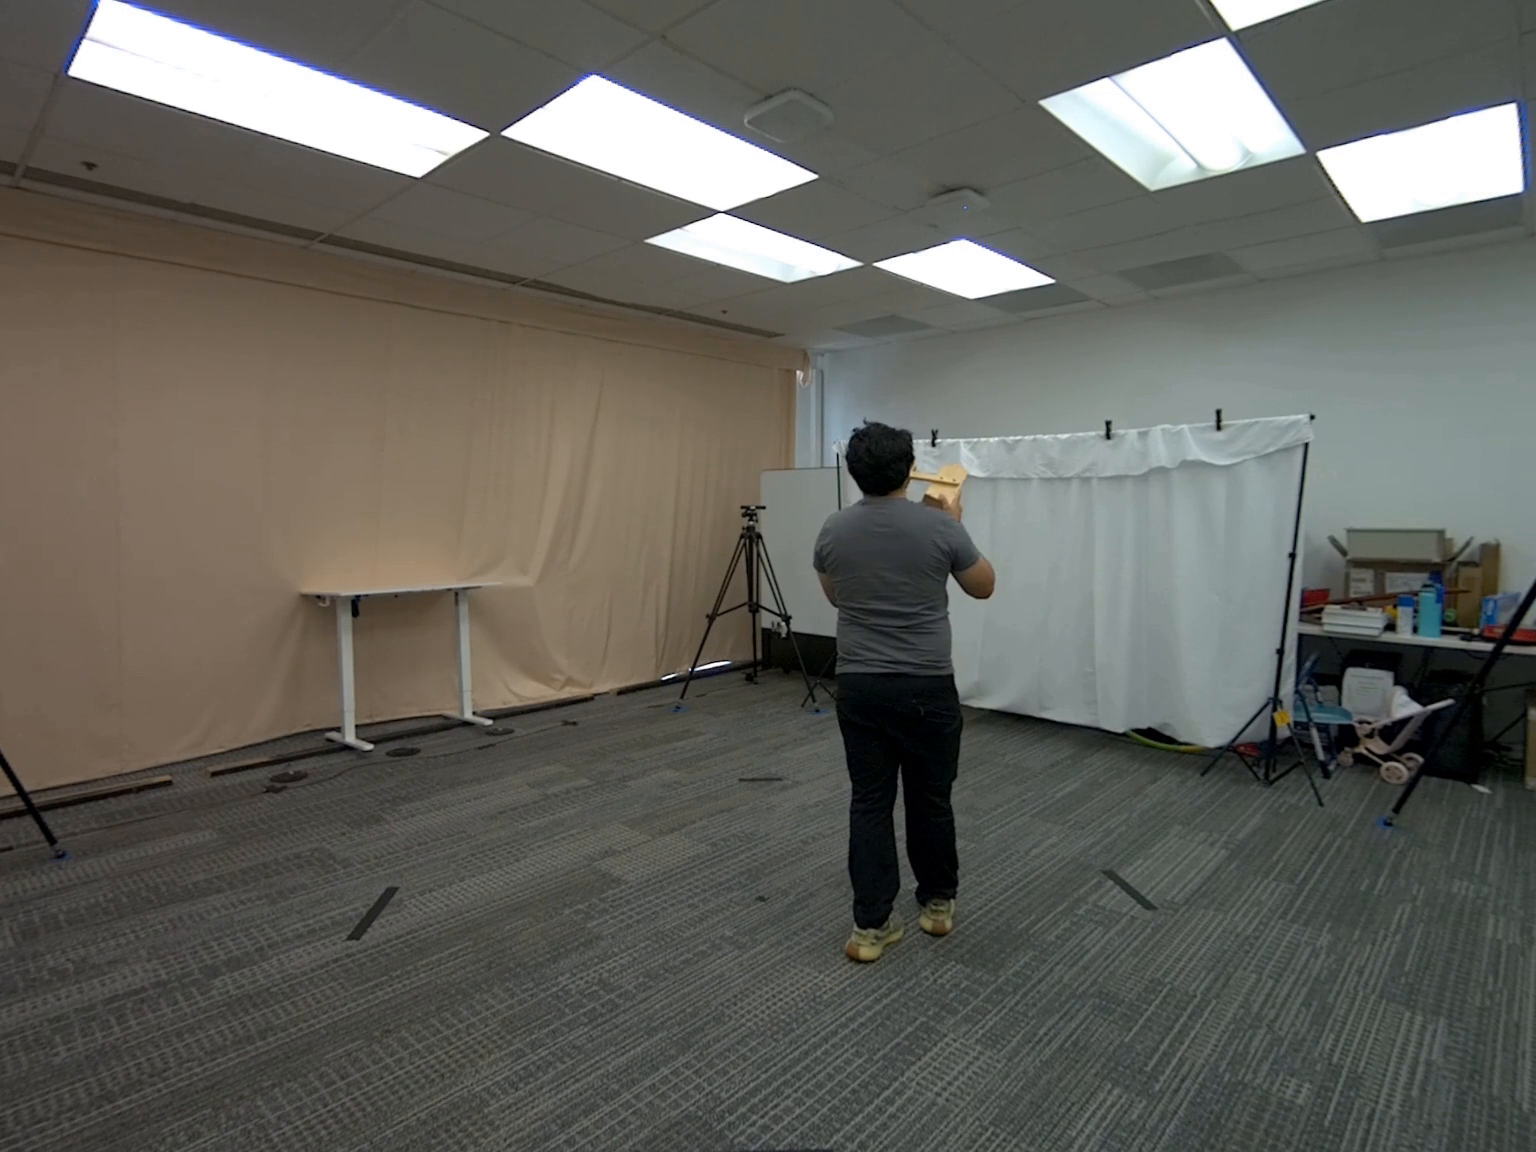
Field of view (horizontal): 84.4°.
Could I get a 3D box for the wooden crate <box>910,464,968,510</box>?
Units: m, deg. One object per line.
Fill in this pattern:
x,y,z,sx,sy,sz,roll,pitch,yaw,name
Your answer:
0.509,-0.254,3.021,0.277,0.322,0.300,28,44,10,wooden crate
